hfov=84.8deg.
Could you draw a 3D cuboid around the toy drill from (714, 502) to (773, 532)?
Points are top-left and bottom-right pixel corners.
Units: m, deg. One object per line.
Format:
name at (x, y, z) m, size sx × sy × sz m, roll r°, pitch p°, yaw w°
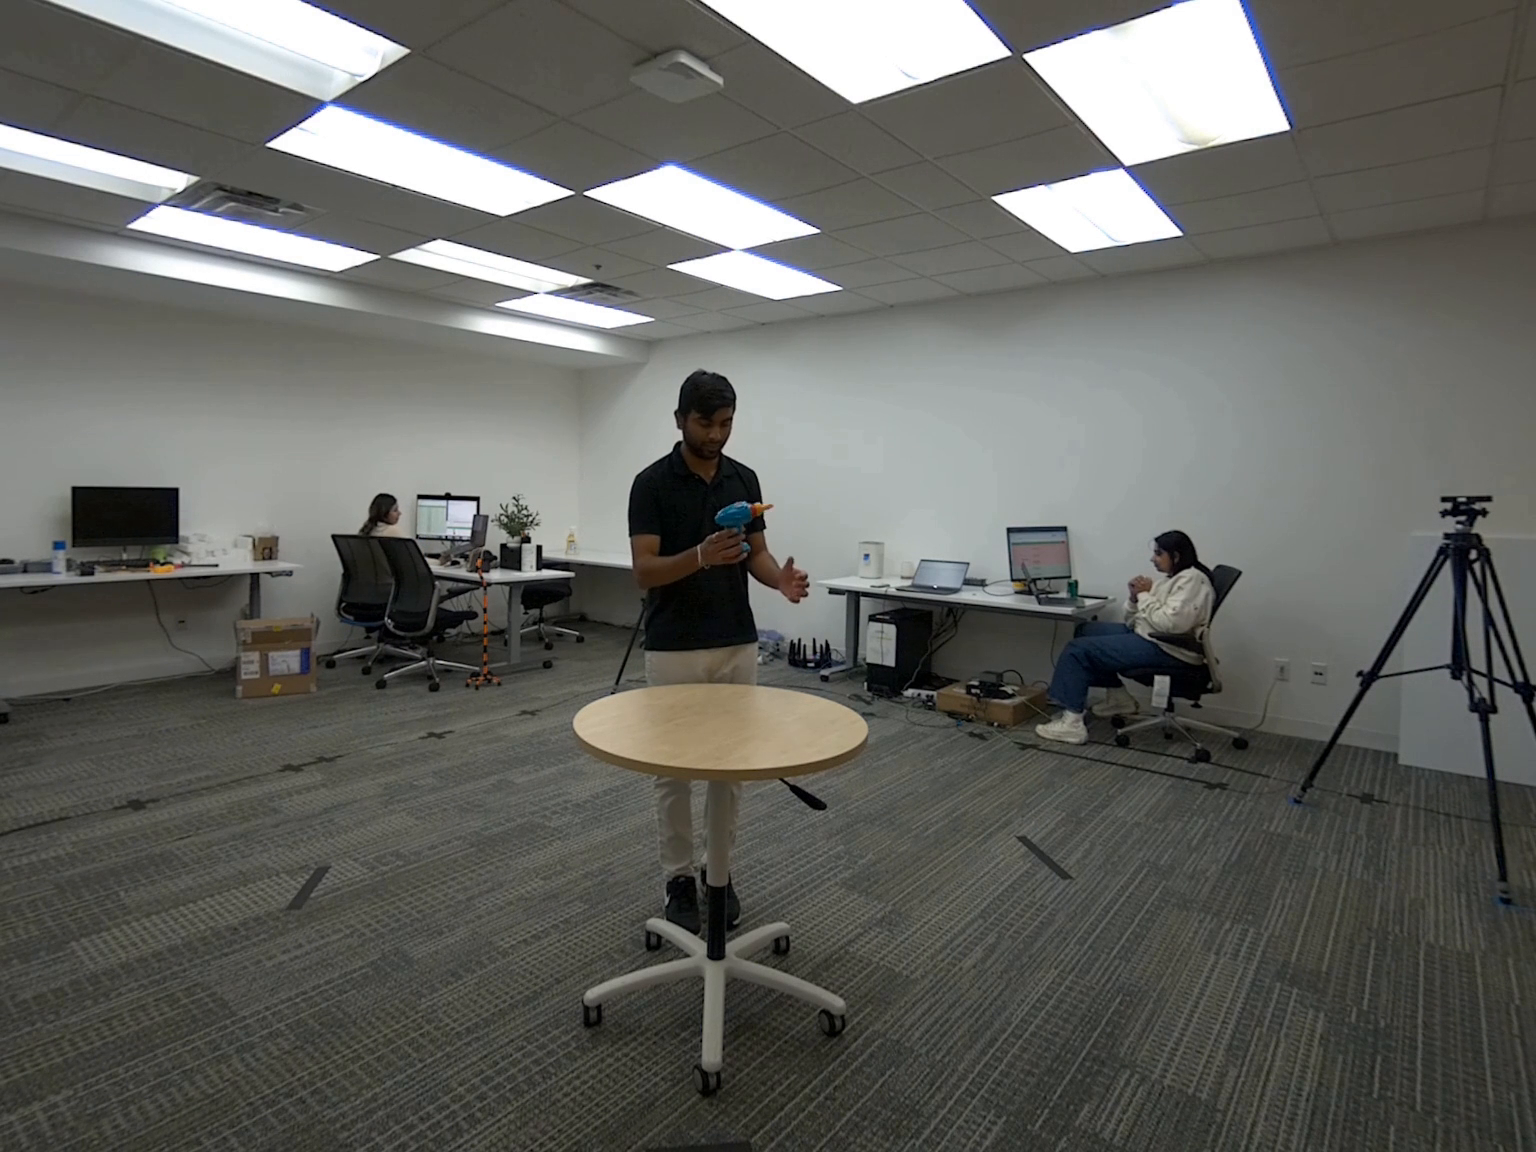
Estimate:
toy drill at (-0.059, -0.127, 2.346) m, size 0.168 × 0.143 × 0.063 m, roll -16°, pitch 22°, yaw -12°
